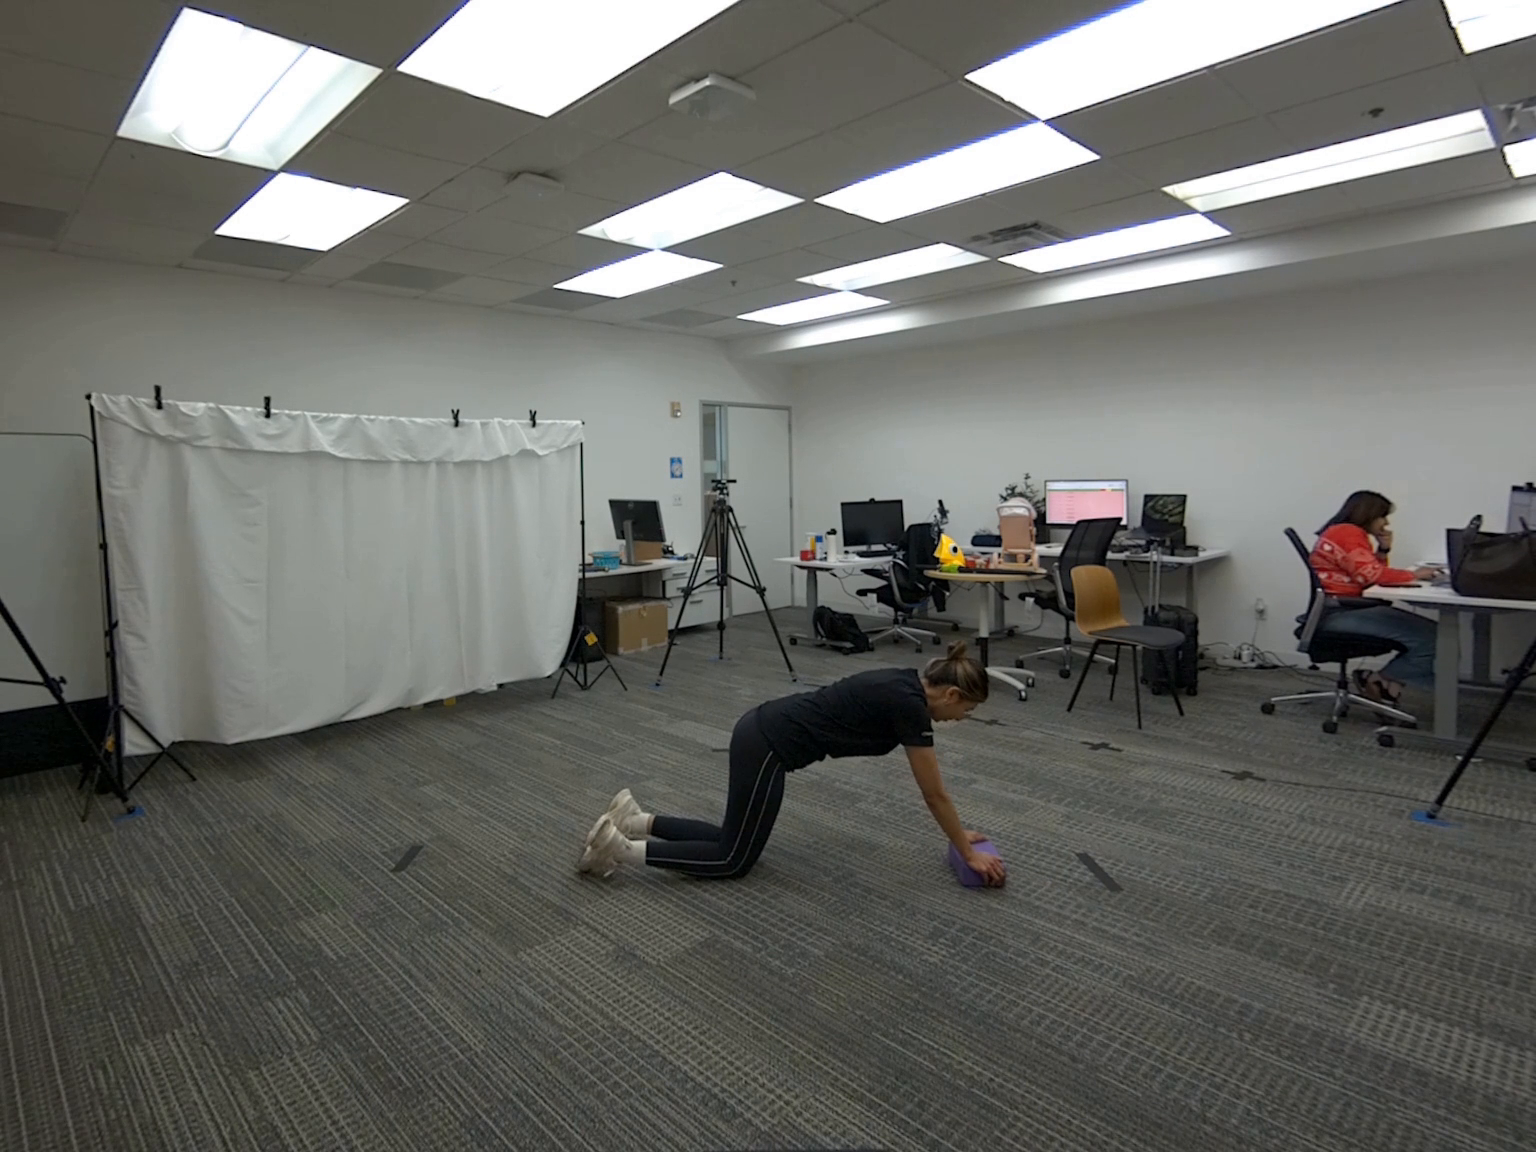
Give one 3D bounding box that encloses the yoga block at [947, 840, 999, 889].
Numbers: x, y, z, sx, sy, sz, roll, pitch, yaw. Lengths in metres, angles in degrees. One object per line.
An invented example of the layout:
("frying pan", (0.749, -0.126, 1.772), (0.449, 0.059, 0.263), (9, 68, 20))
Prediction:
("yoga block", (0.730, 1.001, 3.001), (0.149, 0.076, 0.230), (0, 7, 1))
